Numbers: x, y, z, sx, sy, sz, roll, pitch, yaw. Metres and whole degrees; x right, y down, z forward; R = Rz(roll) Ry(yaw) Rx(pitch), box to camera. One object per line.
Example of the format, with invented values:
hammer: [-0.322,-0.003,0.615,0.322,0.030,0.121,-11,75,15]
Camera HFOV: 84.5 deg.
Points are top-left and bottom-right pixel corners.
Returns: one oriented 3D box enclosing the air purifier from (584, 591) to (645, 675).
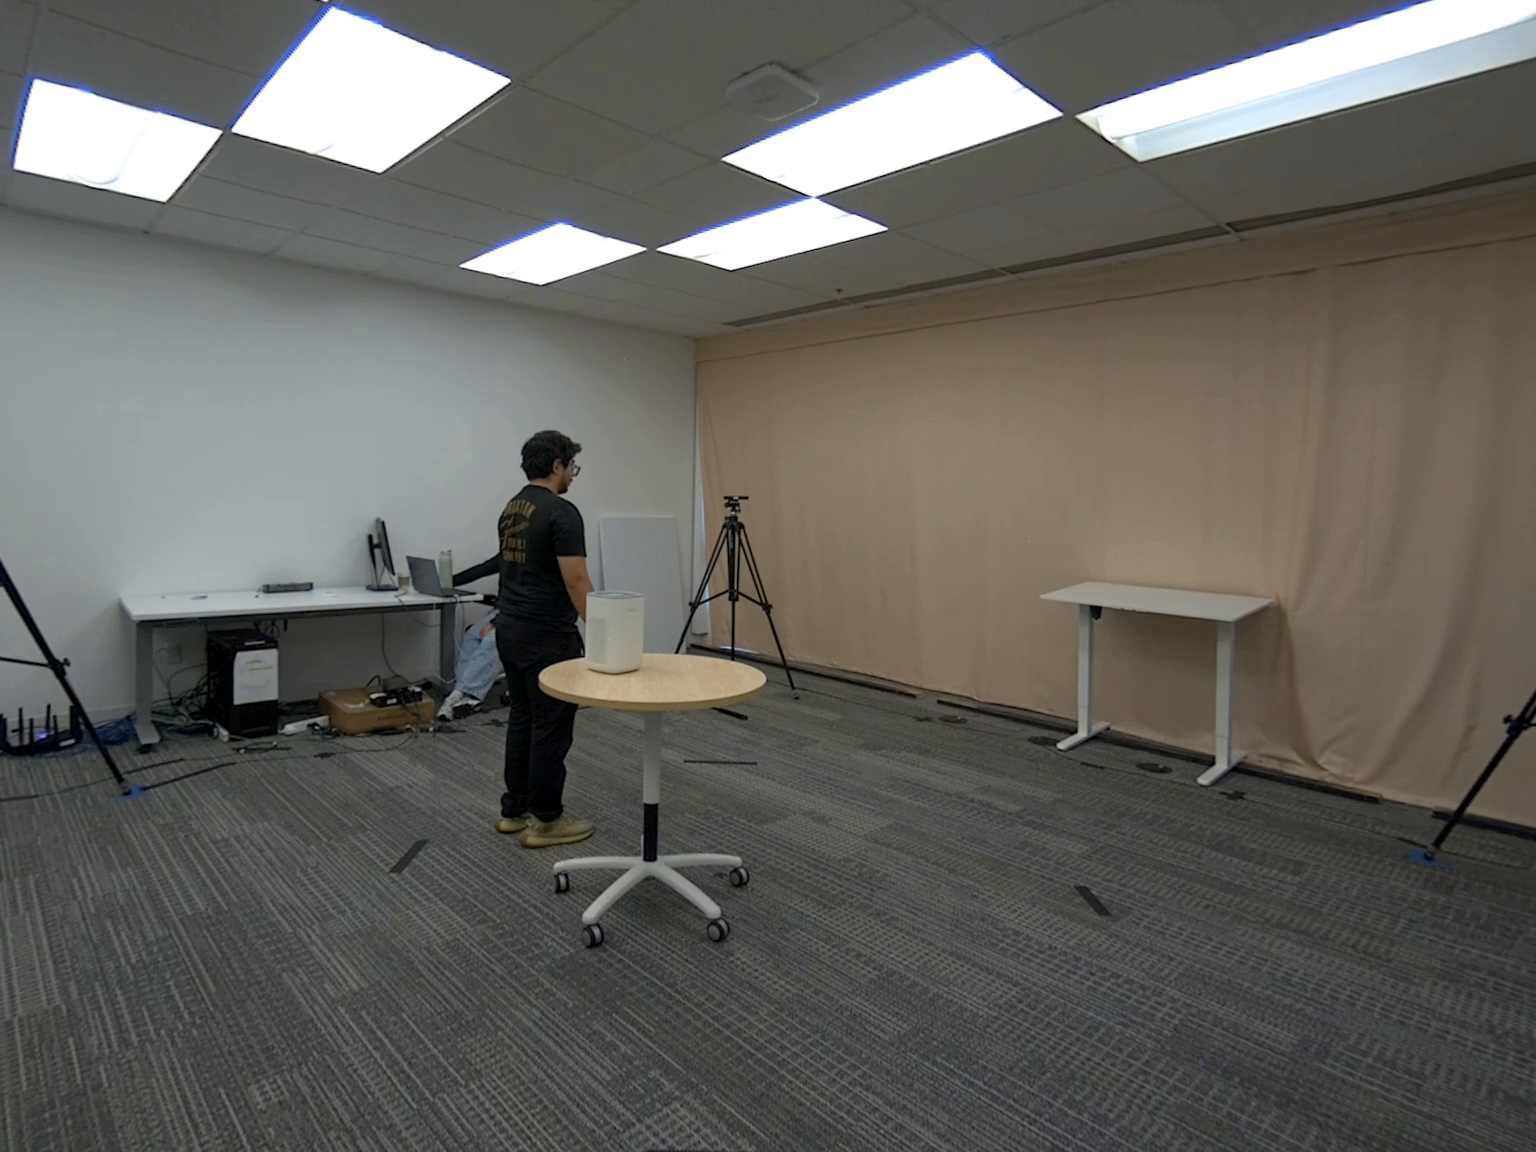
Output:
air purifier: [-0.539,0.194,2.916,0.176,0.265,0.167,6,5,34]
